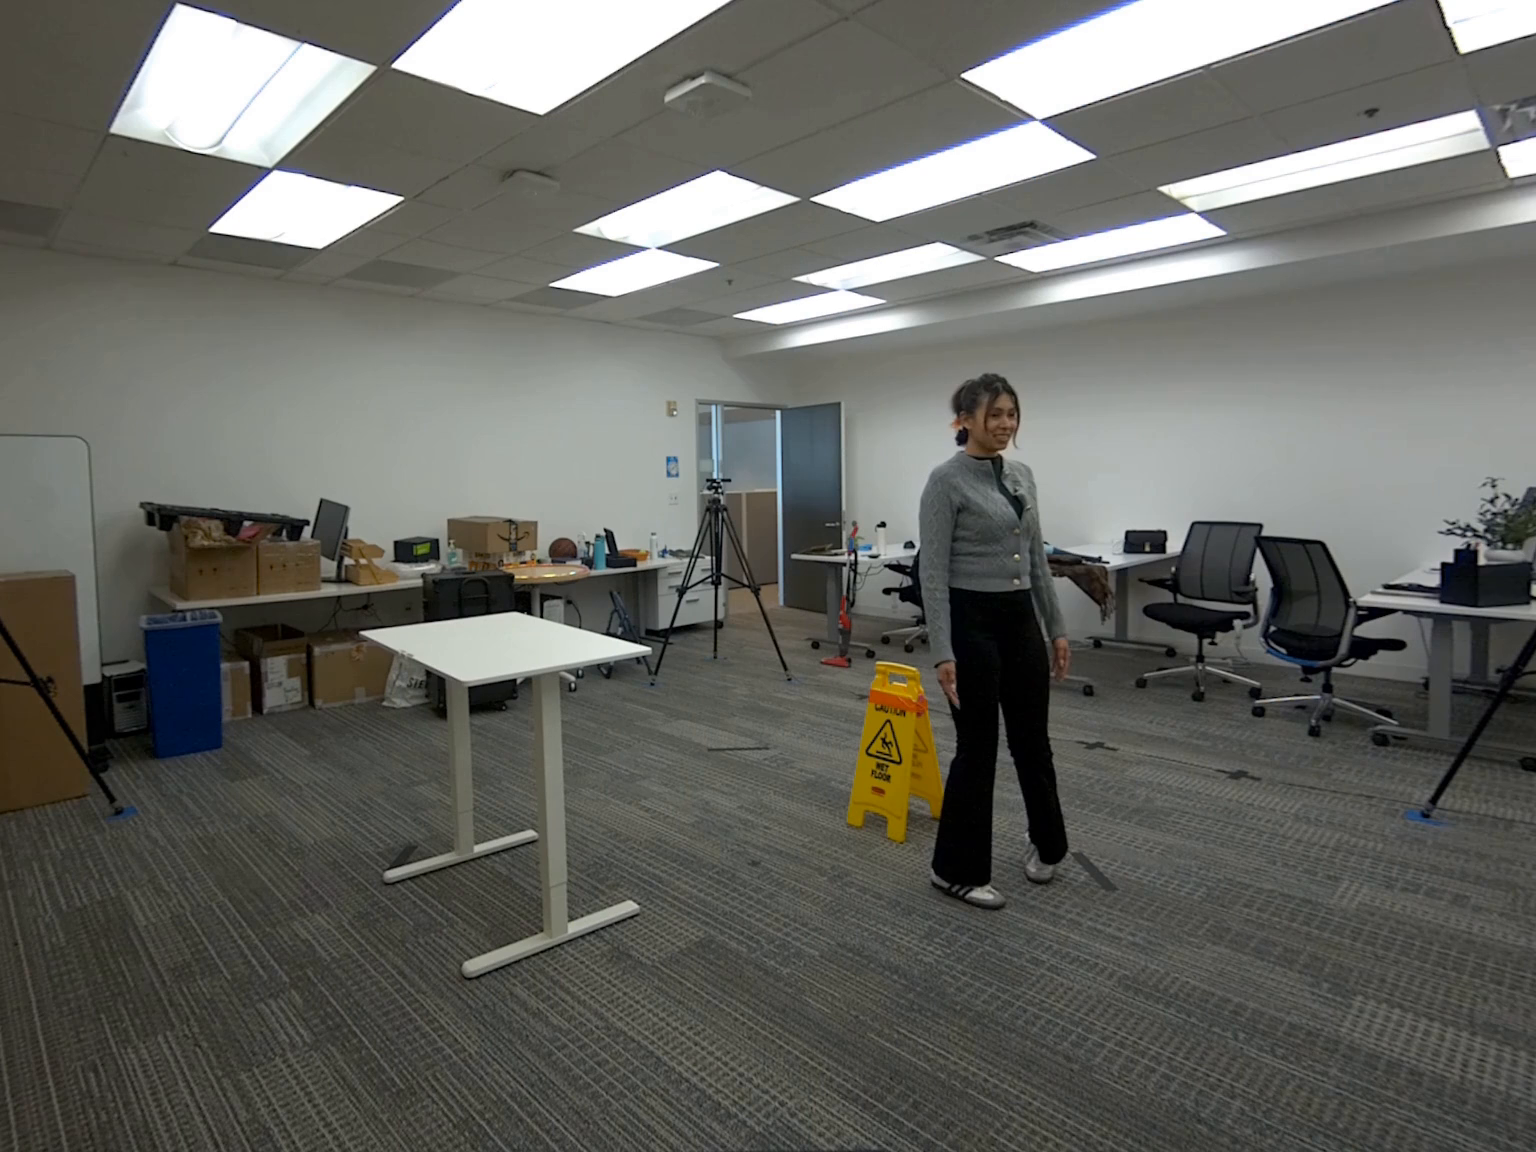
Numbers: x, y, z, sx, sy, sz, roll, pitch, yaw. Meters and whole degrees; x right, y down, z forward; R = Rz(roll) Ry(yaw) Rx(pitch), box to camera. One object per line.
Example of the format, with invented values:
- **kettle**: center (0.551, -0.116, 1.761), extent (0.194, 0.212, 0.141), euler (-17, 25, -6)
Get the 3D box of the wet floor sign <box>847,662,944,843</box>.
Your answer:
- **wet floor sign**: center (0.519, 0.678, 3.439), extent (0.282, 0.644, 0.291), euler (-4, 5, -44)
